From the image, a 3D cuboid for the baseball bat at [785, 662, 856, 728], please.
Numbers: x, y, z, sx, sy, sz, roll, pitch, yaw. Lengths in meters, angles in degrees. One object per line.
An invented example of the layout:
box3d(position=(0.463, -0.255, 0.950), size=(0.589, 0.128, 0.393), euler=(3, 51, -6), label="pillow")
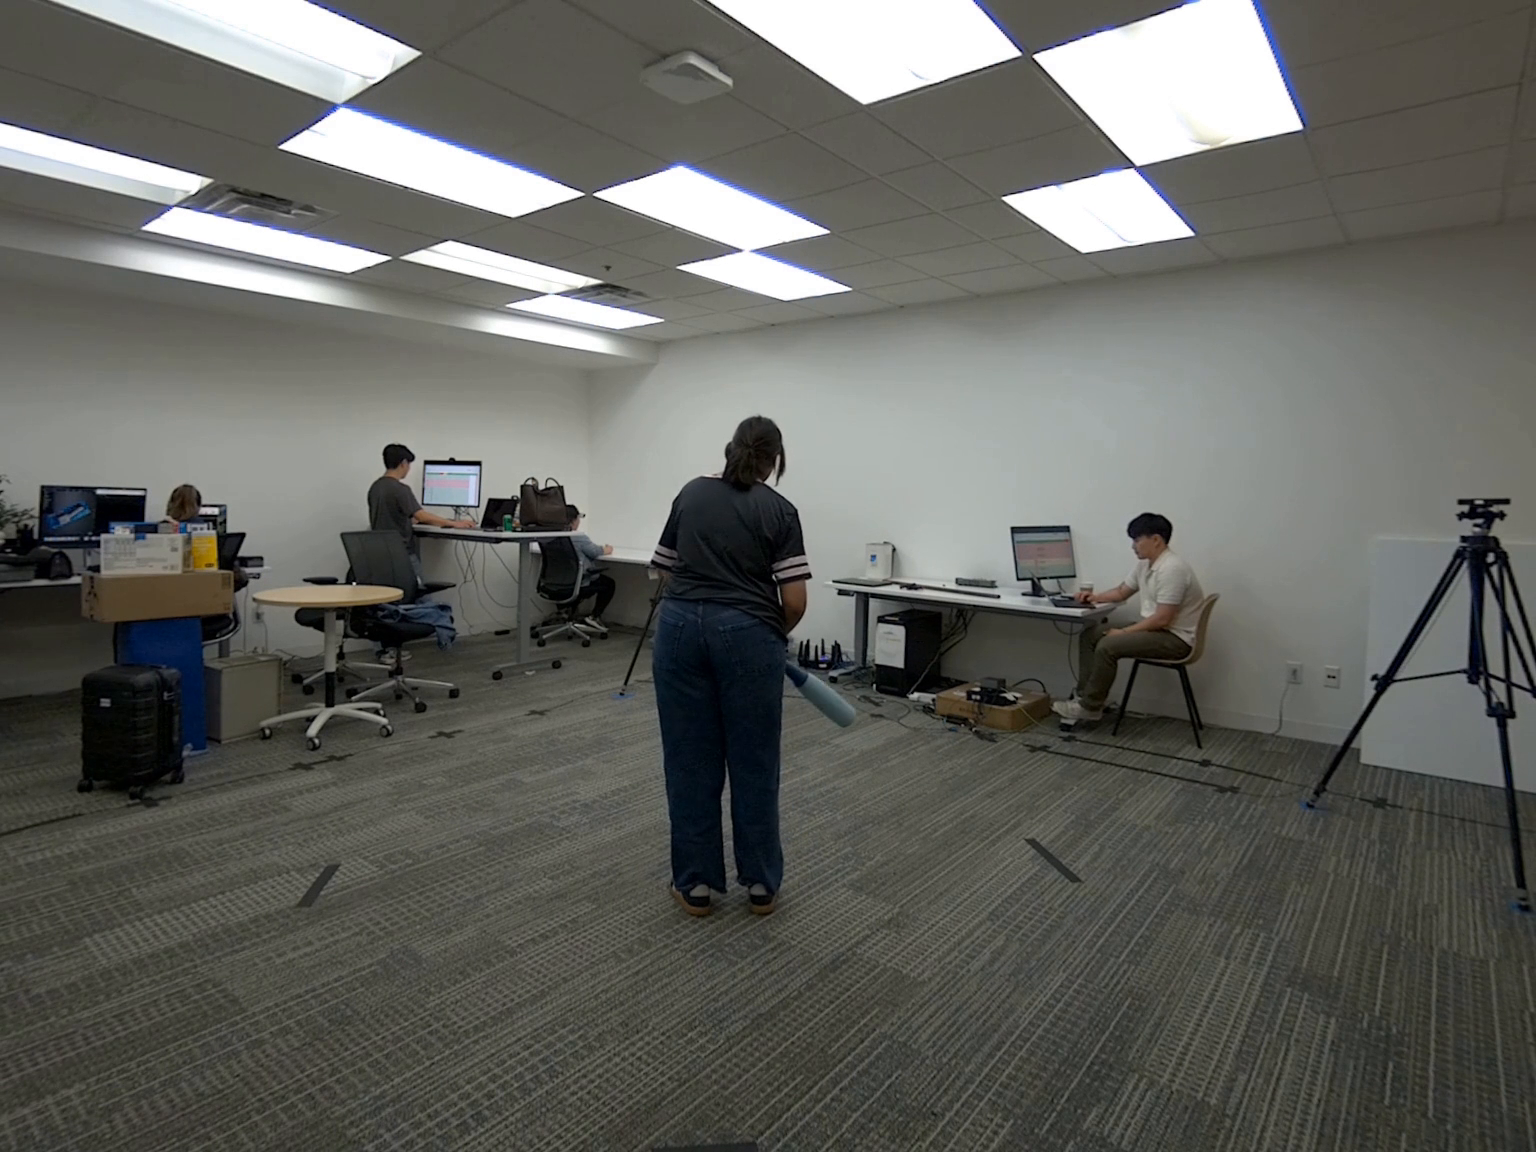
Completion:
box3d(position=(0.100, 0.344, 3.057), size=(0.531, 0.089, 0.091), euler=(40, -9, -15), label="baseball bat")
